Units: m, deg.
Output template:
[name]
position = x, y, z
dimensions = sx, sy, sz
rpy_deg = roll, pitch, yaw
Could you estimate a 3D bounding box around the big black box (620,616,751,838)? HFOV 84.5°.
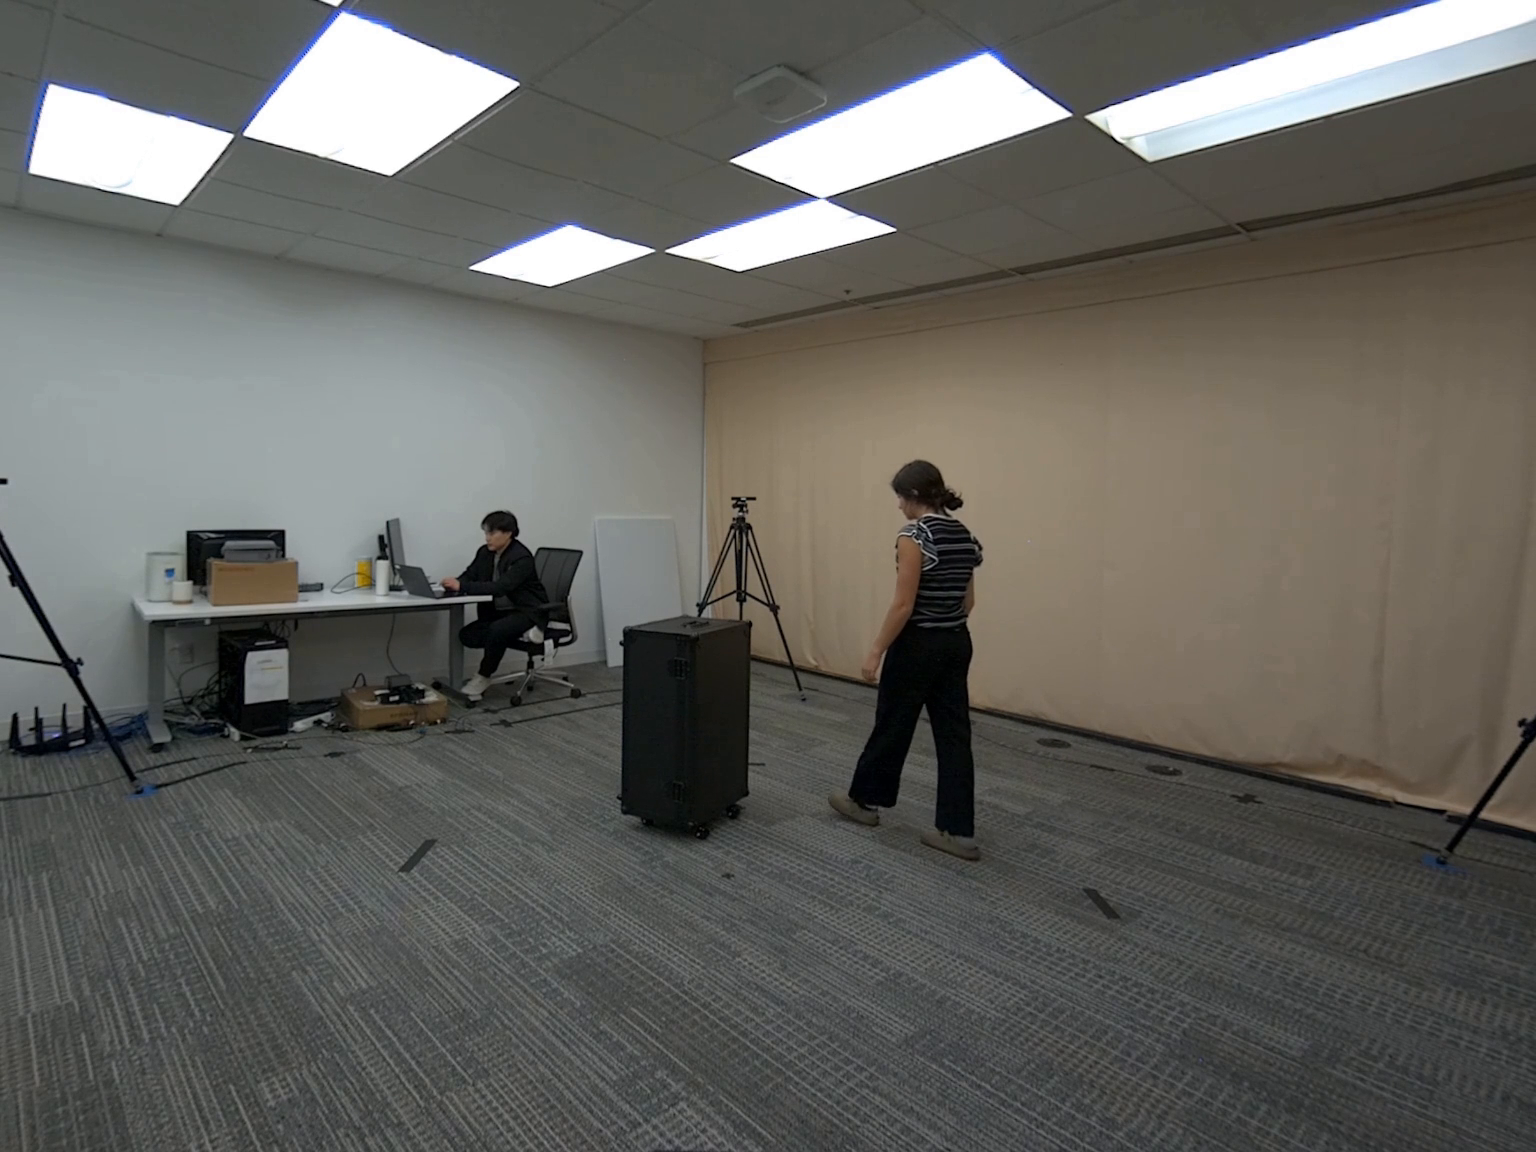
[big black box]
position = -0.364, 0.635, 3.618
dimensions = 0.404, 0.860, 0.512
rpy_deg = 1, 3, 26
